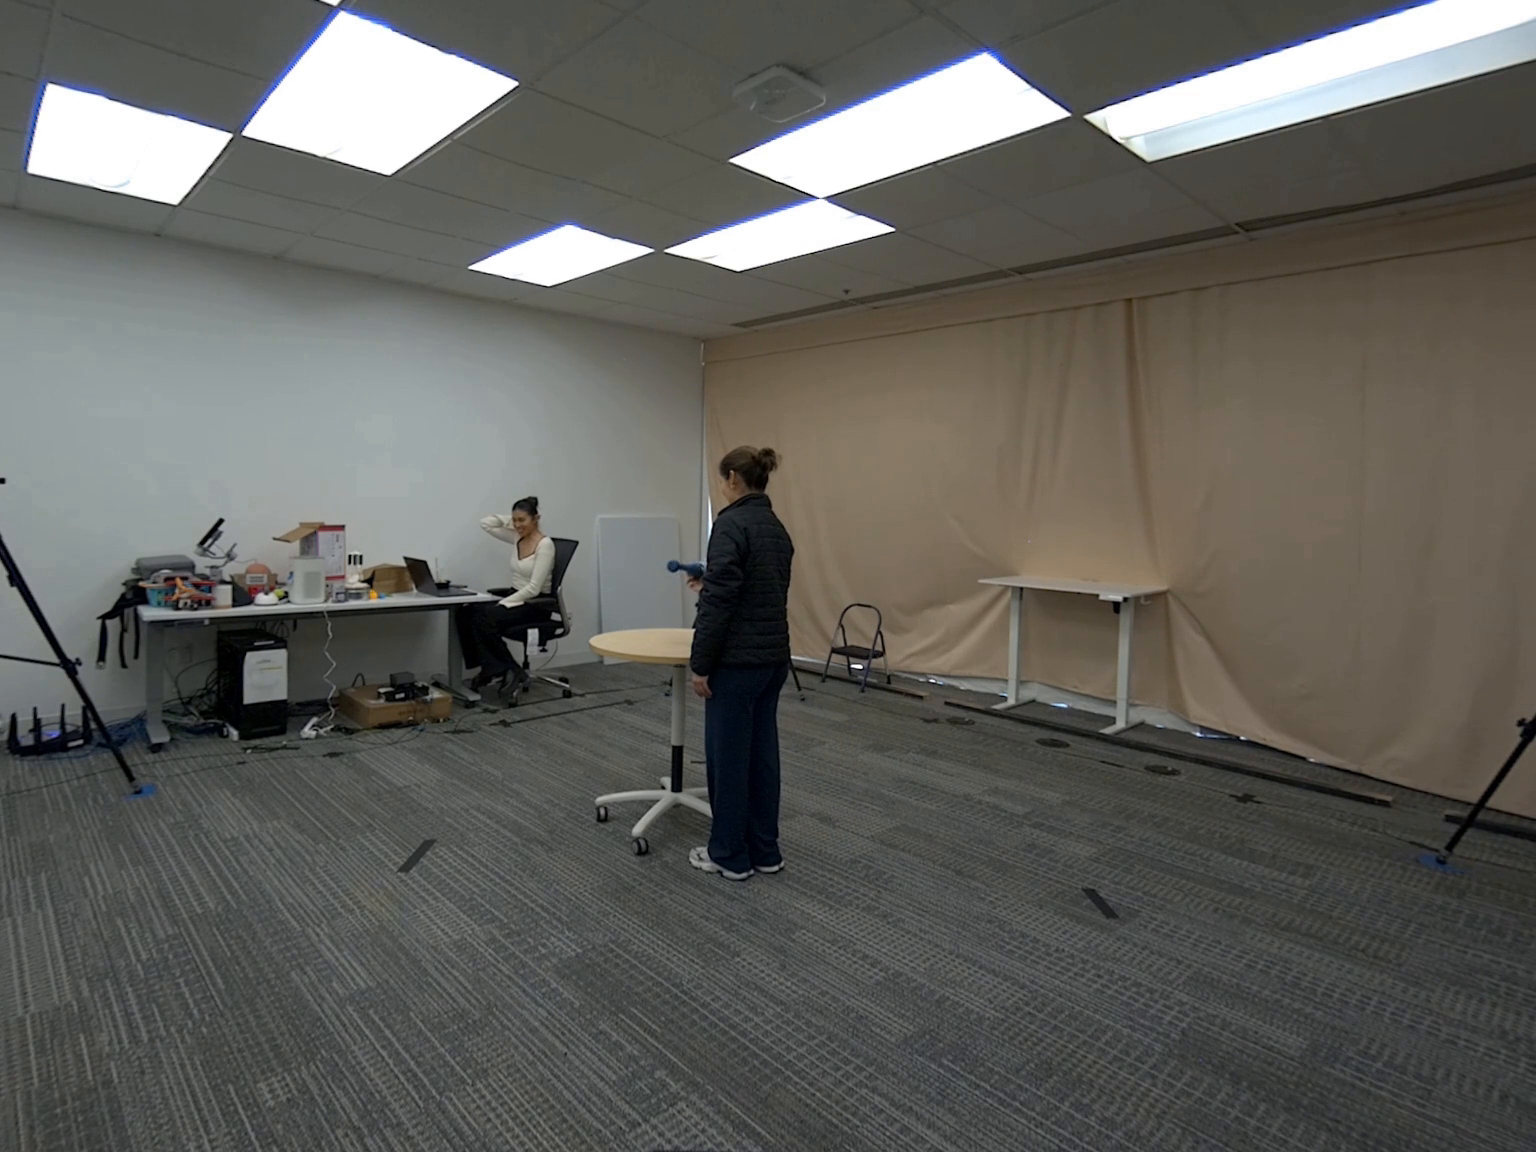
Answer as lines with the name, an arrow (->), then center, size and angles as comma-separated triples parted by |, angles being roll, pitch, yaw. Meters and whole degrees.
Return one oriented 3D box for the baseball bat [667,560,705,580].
baseball bat -> -0.303, -0.013, 3.462 | 0.090, 0.089, 0.535 | 3, -2, 14
